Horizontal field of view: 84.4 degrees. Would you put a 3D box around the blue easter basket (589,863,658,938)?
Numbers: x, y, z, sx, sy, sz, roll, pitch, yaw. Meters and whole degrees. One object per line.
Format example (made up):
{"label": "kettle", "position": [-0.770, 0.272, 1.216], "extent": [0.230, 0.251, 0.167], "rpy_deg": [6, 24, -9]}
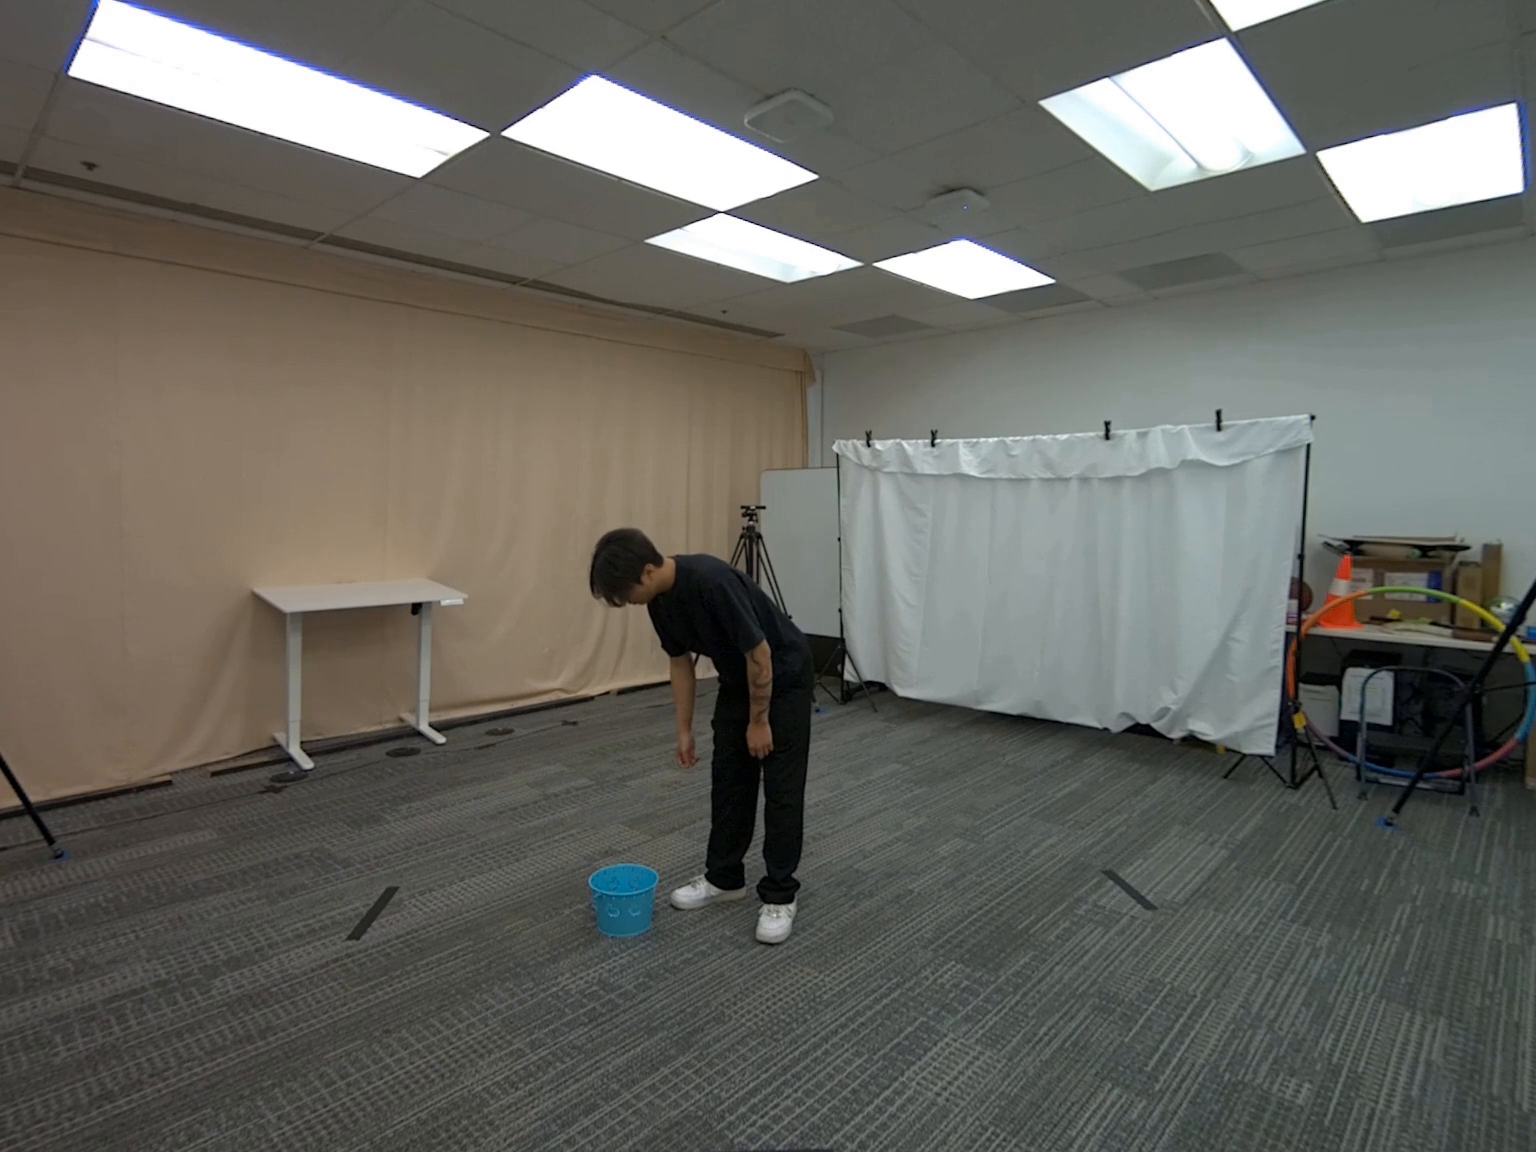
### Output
{"label": "blue easter basket", "position": [-0.480, 1.084, 2.817], "extent": [0.243, 0.155, 0.244], "rpy_deg": [0, 4, -2]}
